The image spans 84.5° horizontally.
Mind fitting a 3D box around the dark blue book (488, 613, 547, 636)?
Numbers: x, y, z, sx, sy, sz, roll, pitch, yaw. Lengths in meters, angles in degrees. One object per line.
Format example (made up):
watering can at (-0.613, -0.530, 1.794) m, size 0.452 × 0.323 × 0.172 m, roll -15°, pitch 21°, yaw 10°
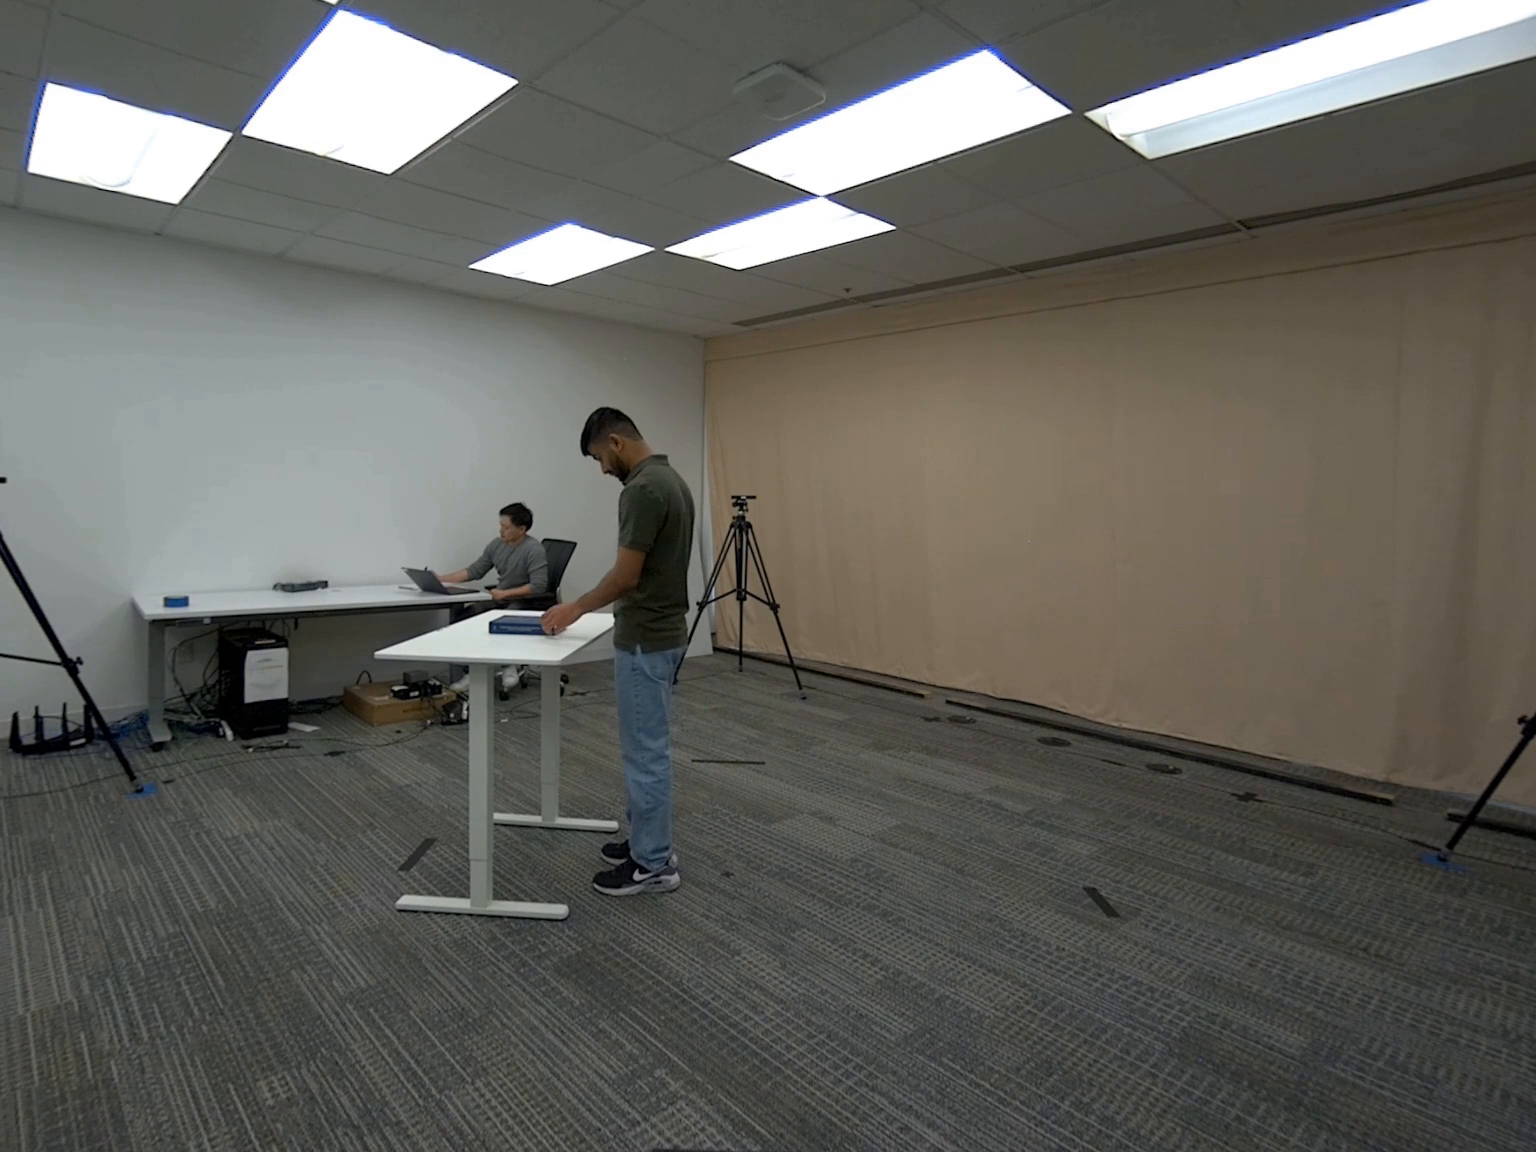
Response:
dark blue book at (-0.885, 0.181, 3.094) m, size 0.245 × 0.045 × 0.164 m, roll 0°, pitch 6°, yaw 2°
